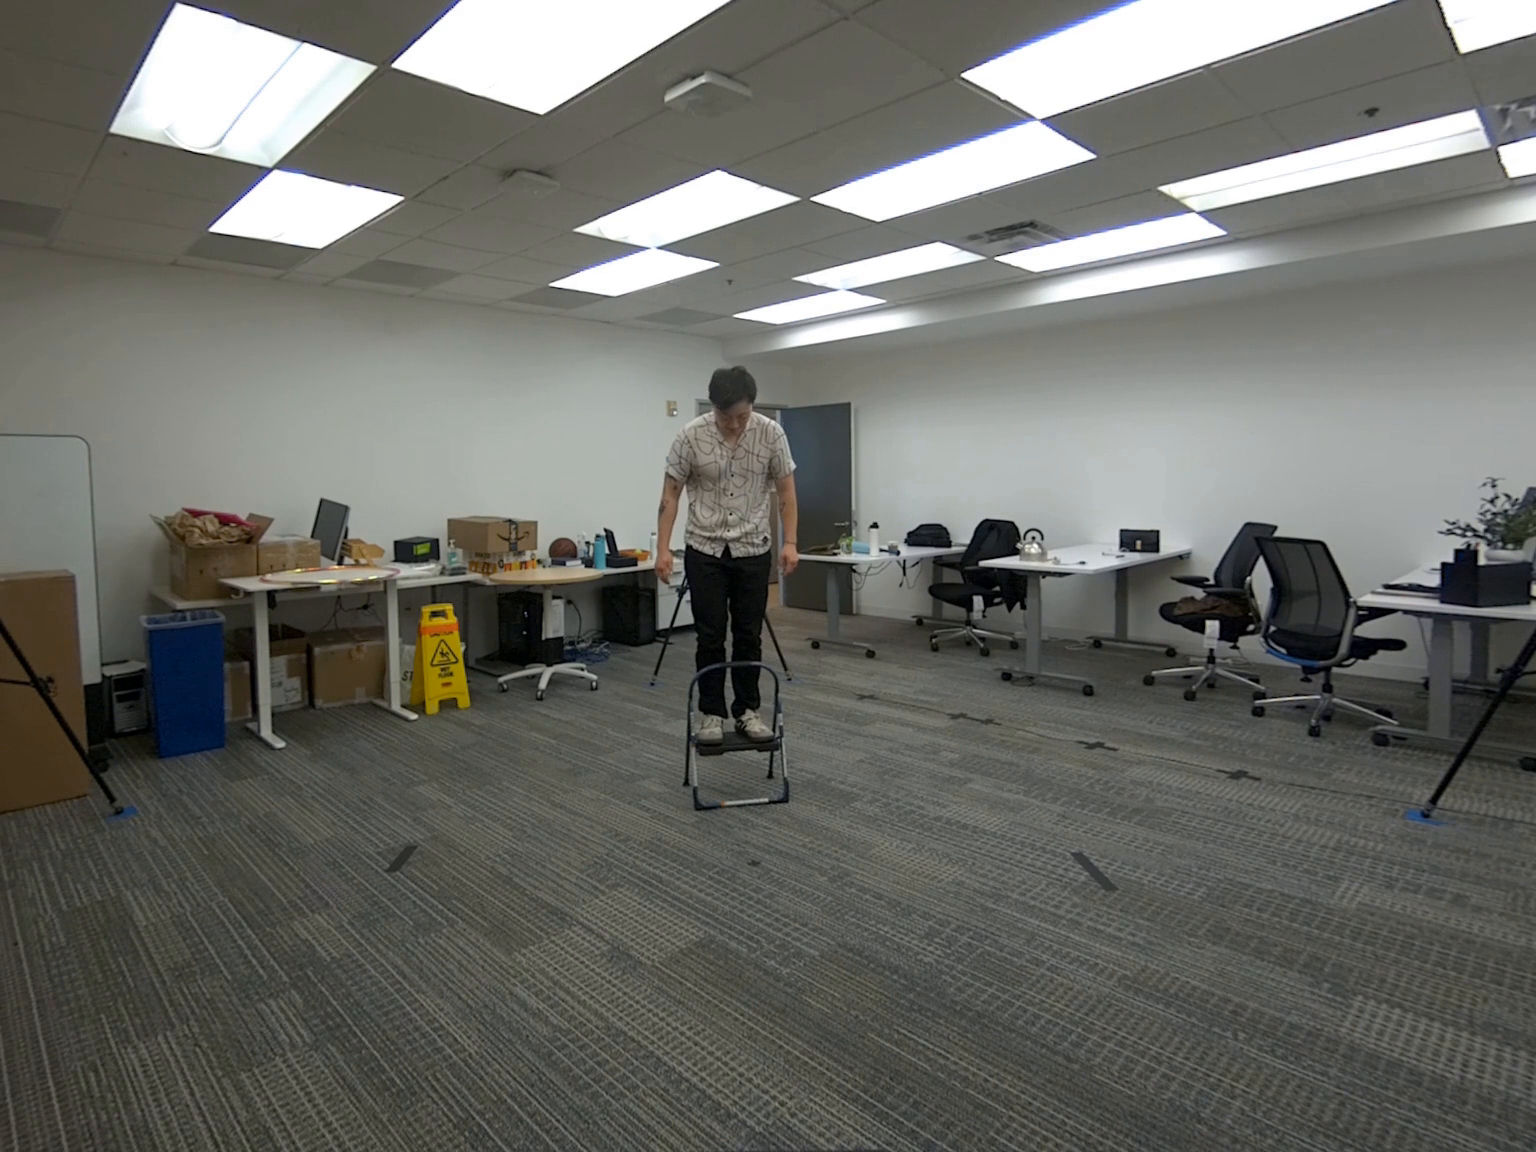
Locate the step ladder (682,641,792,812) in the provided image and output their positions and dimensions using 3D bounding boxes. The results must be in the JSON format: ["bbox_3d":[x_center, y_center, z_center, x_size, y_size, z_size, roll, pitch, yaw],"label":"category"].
[{"bbox_3d":[-0.151,0.670,3.792,0.426,0.604,0.354,-1,4,-12],"label":"step ladder"}]
